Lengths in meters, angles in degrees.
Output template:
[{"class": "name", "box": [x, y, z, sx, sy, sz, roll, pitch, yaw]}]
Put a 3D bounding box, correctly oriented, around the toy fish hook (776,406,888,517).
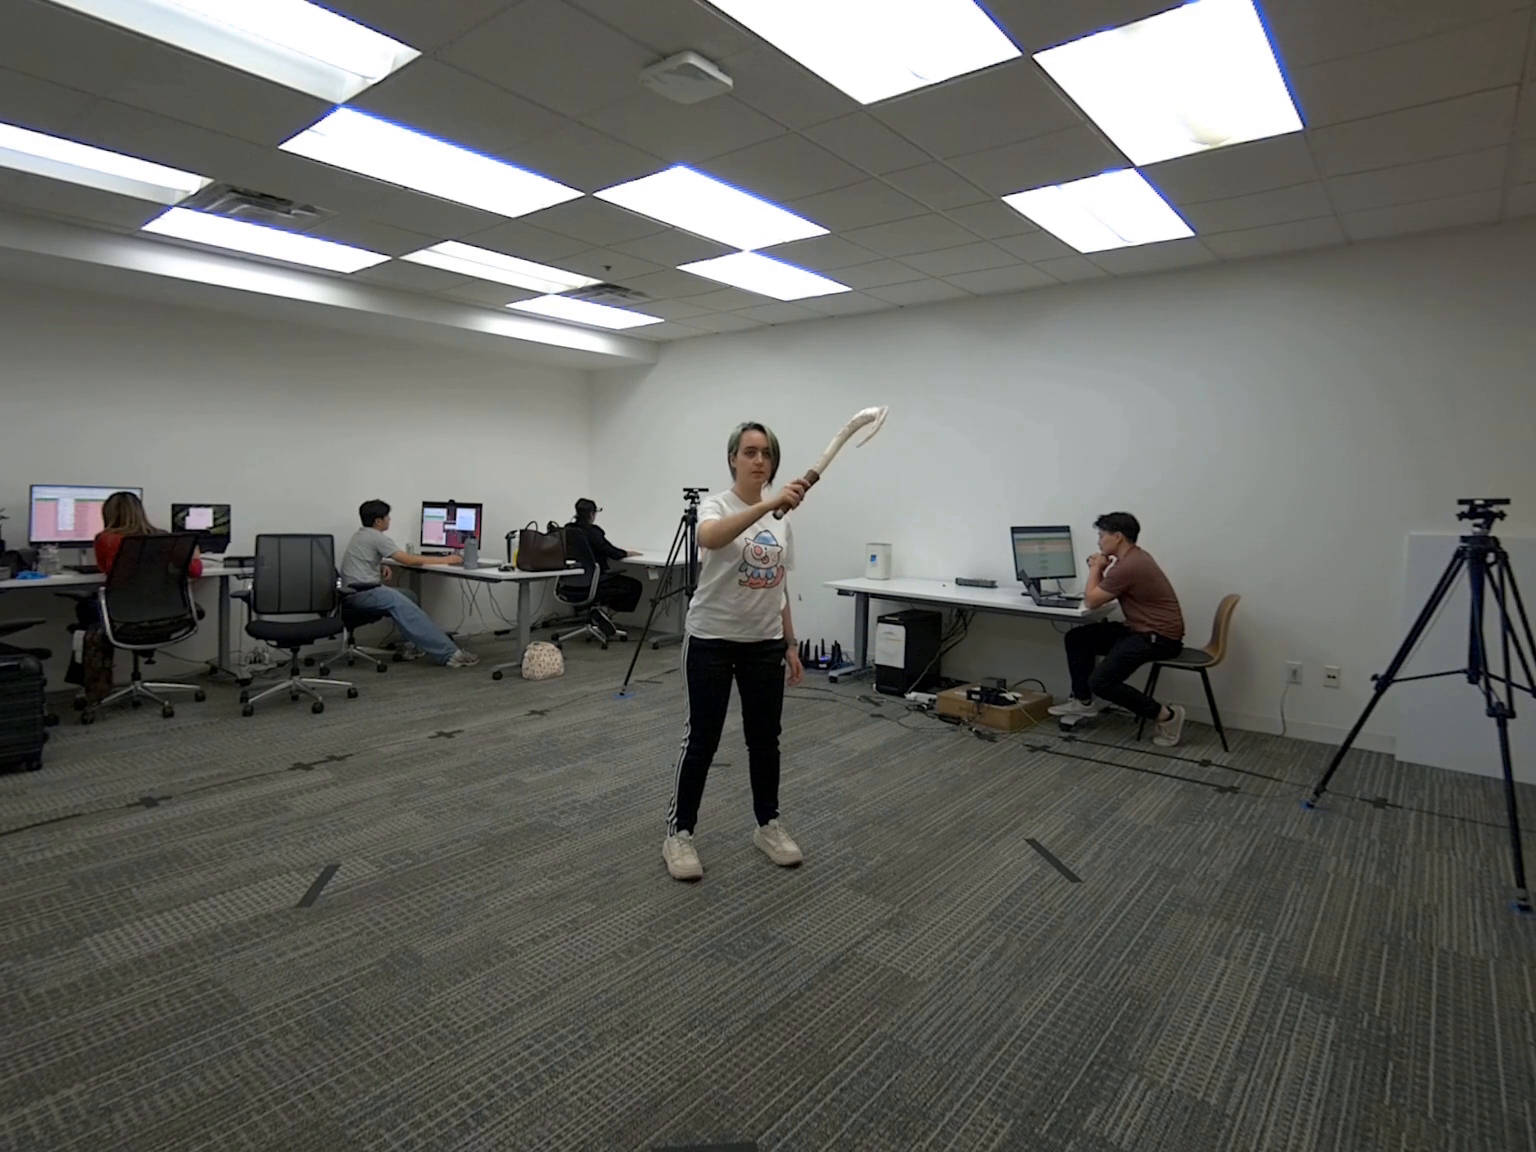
[{"class": "toy fish hook", "box": [0.199, -0.350, 2.701, 0.047, 0.507, 0.230, 44, -13, -20]}]
